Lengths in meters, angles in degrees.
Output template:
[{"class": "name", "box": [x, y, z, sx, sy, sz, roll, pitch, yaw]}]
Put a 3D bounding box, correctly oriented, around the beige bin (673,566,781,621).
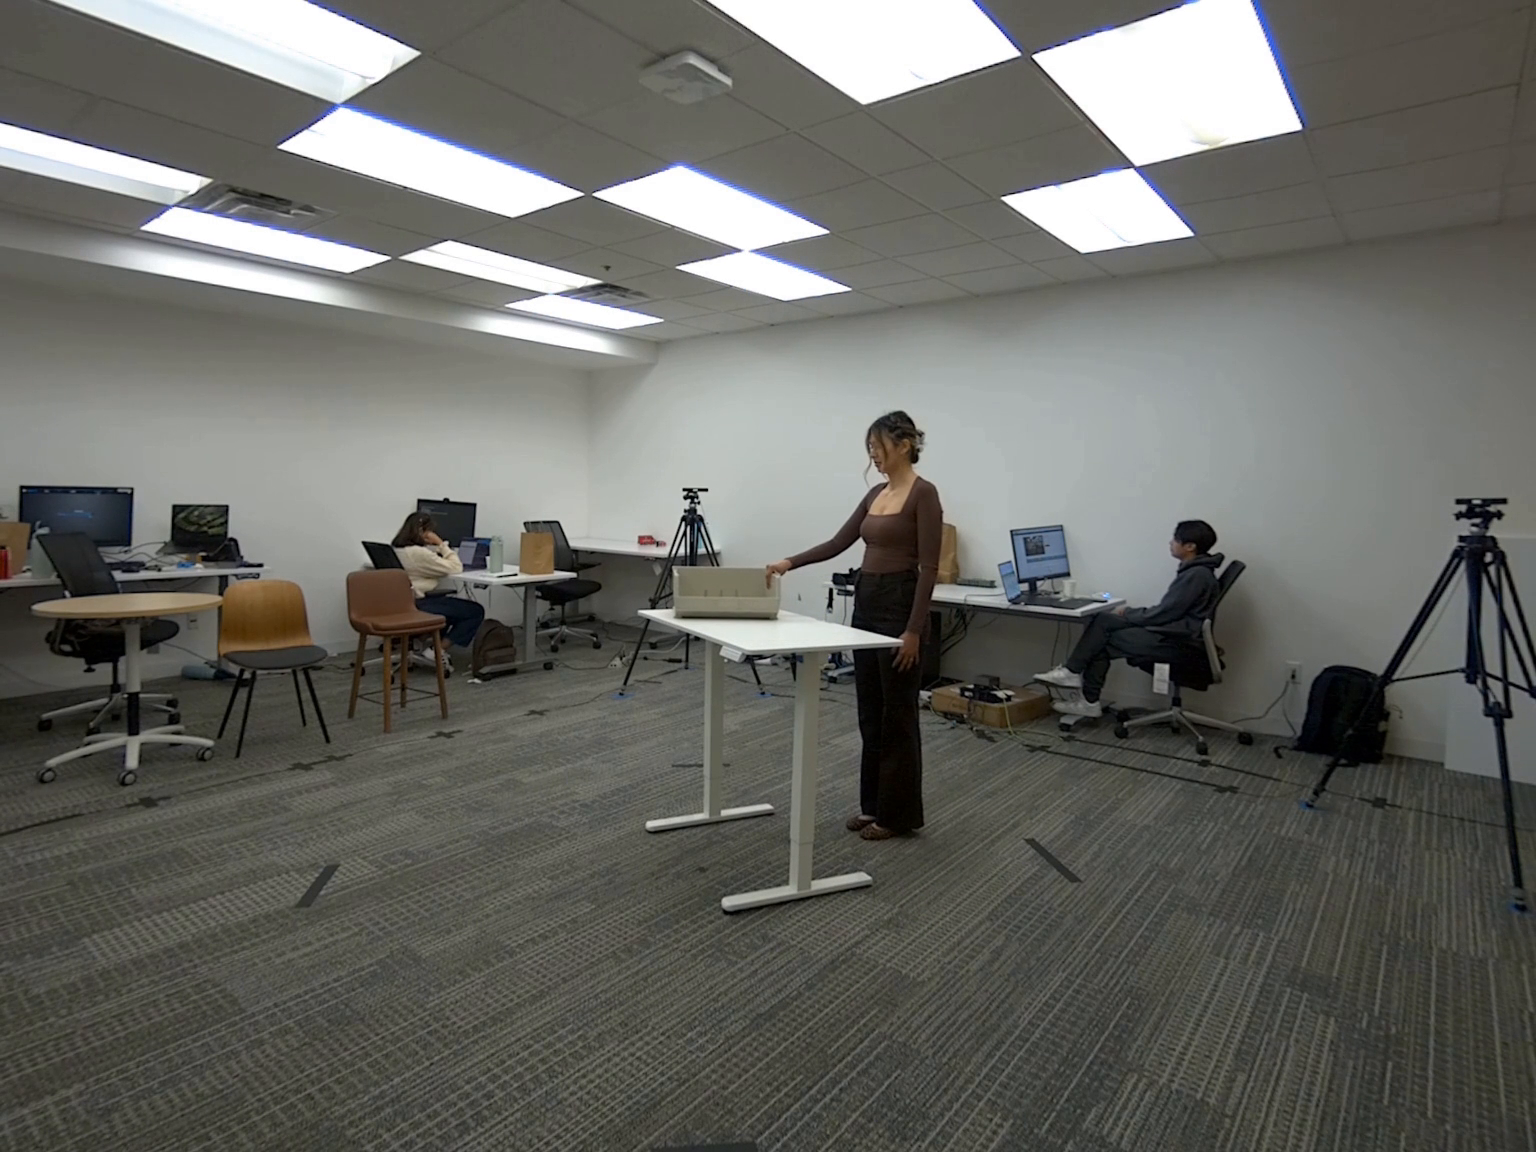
[{"class": "beige bin", "box": [-0.184, 0.073, 3.449, 0.420, 0.188, 0.381, 0, 3, -7]}]
